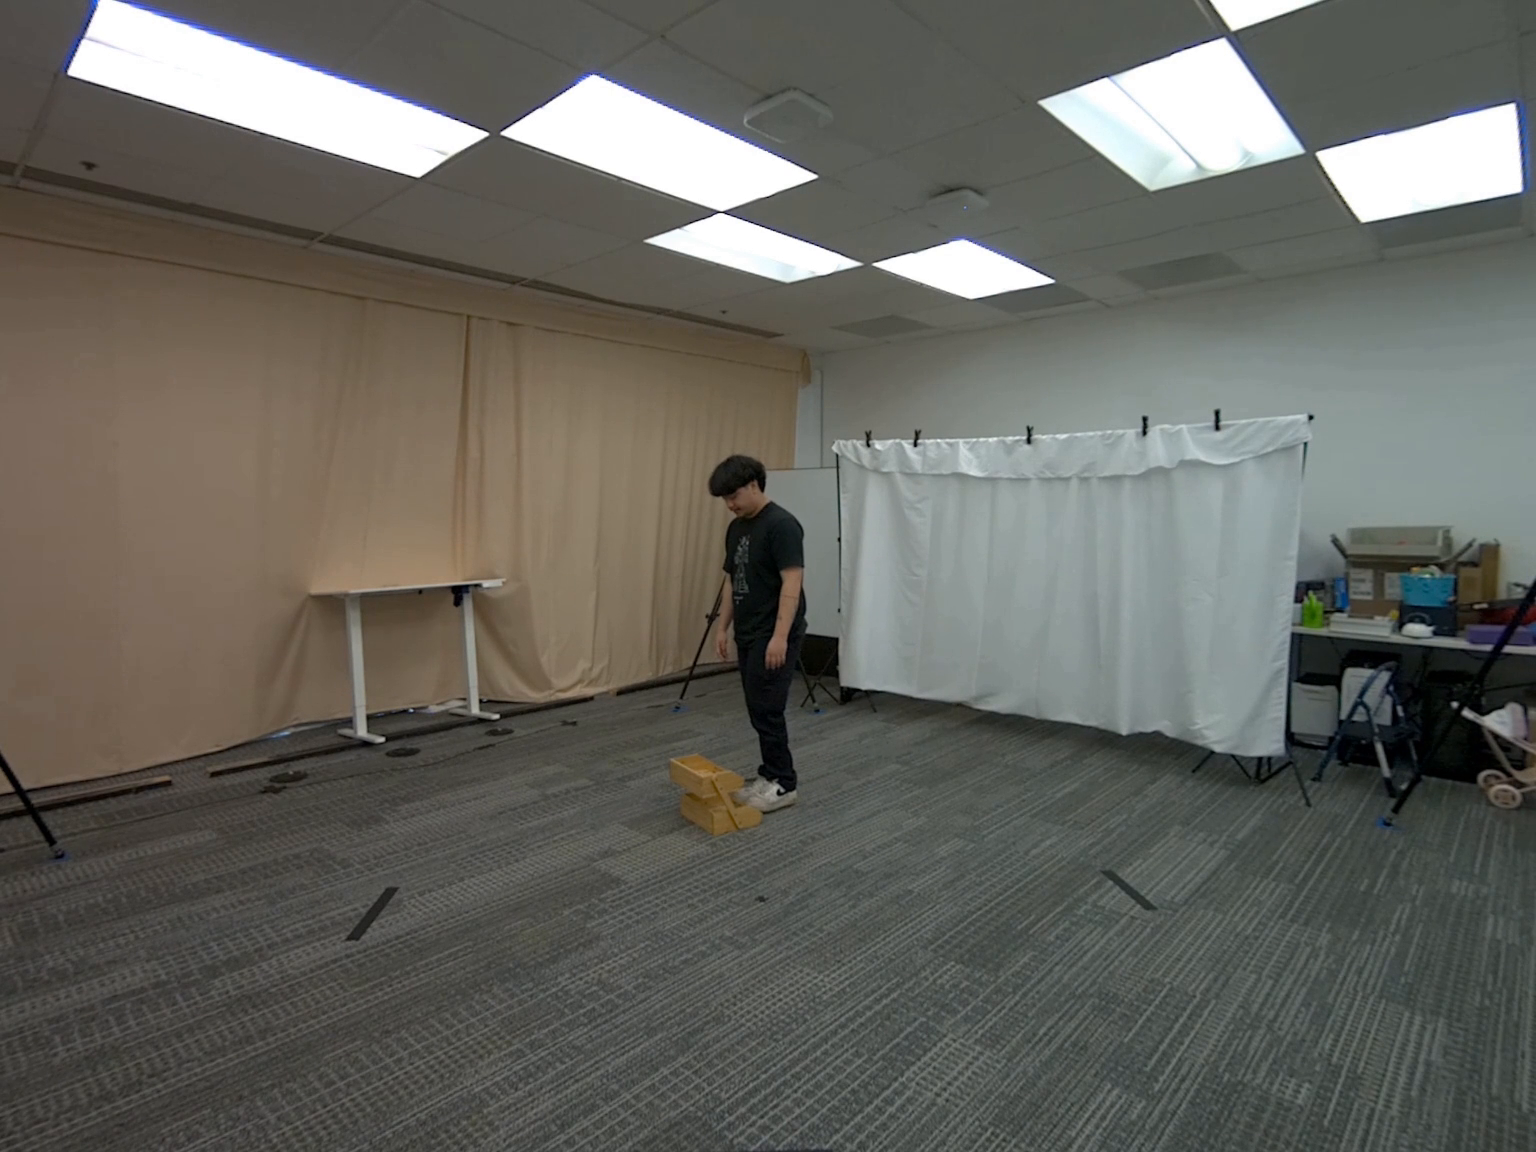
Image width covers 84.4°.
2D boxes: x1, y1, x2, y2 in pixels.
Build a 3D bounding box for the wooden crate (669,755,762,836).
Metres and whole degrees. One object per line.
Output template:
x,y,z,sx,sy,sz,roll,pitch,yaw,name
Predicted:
-0.233,0.952,3.737,0.294,0.273,0.334,-3,4,-32,wooden crate
